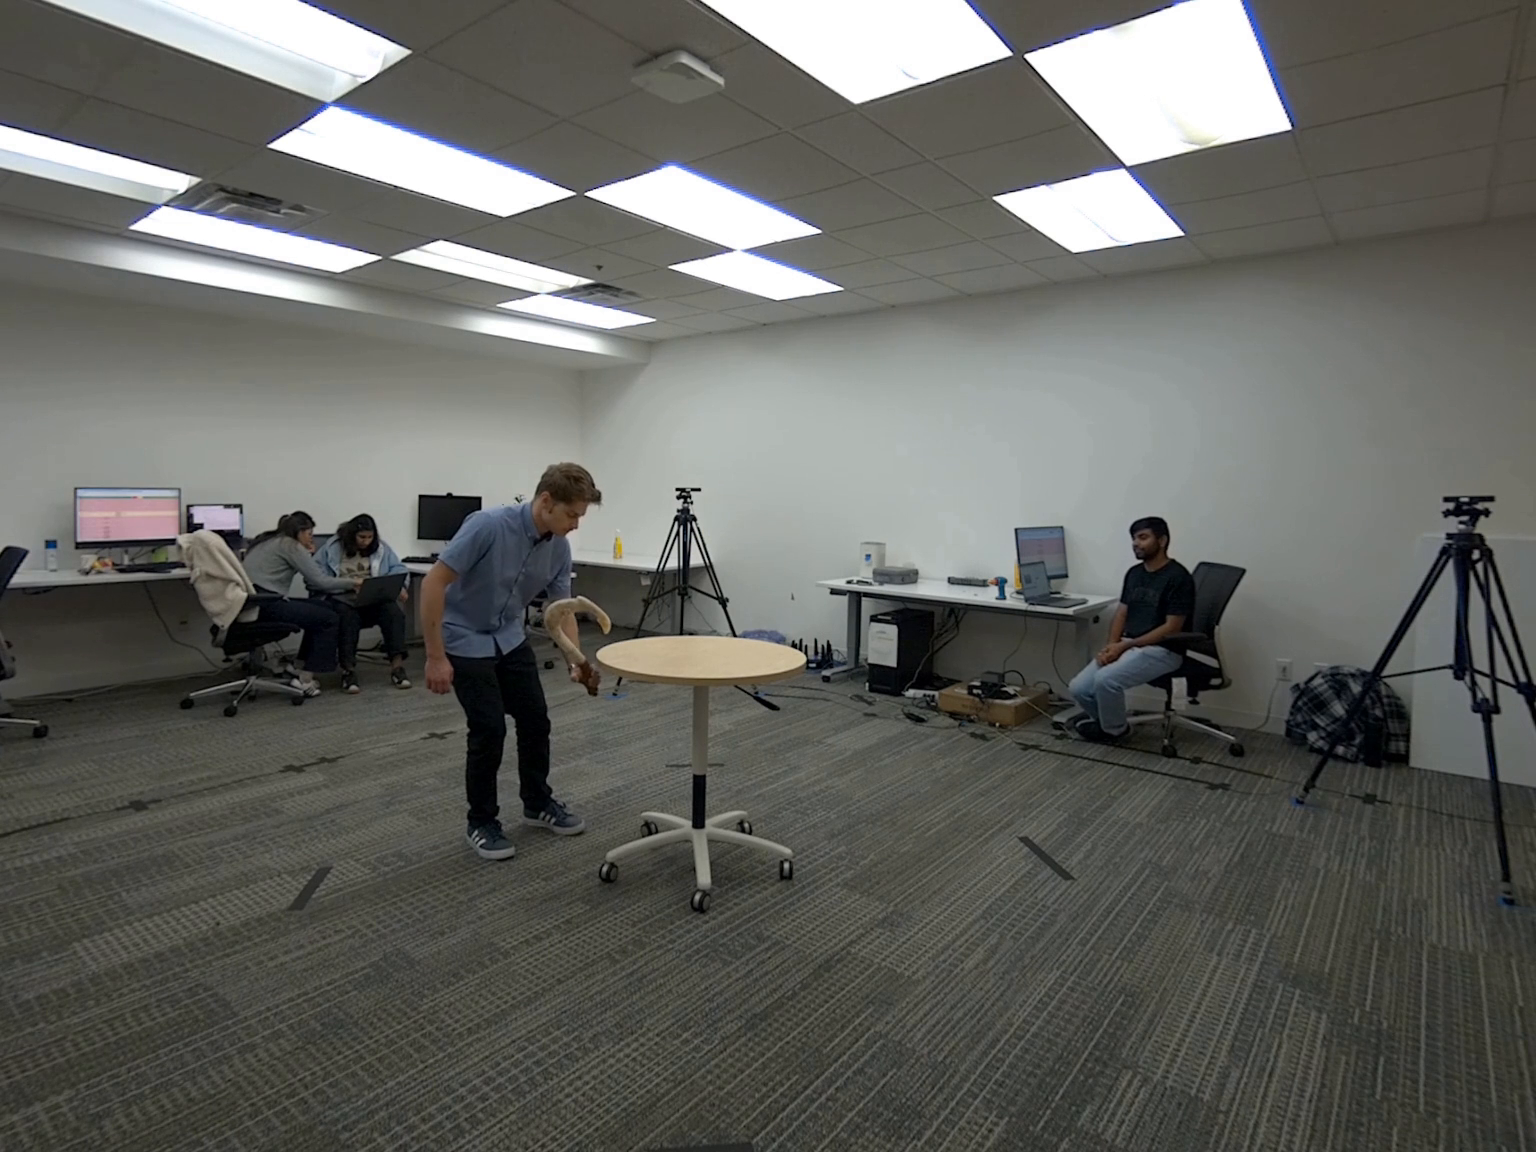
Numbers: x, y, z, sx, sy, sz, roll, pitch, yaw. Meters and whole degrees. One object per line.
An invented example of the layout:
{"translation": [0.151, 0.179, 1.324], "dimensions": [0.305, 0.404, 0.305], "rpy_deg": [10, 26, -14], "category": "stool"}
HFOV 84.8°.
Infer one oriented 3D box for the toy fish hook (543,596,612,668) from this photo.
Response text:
{"translation": [-0.680, 0.260, 3.104], "dimensions": [0.226, 0.489, 0.050], "rpy_deg": [-7, 41, 6], "category": "toy fish hook"}
